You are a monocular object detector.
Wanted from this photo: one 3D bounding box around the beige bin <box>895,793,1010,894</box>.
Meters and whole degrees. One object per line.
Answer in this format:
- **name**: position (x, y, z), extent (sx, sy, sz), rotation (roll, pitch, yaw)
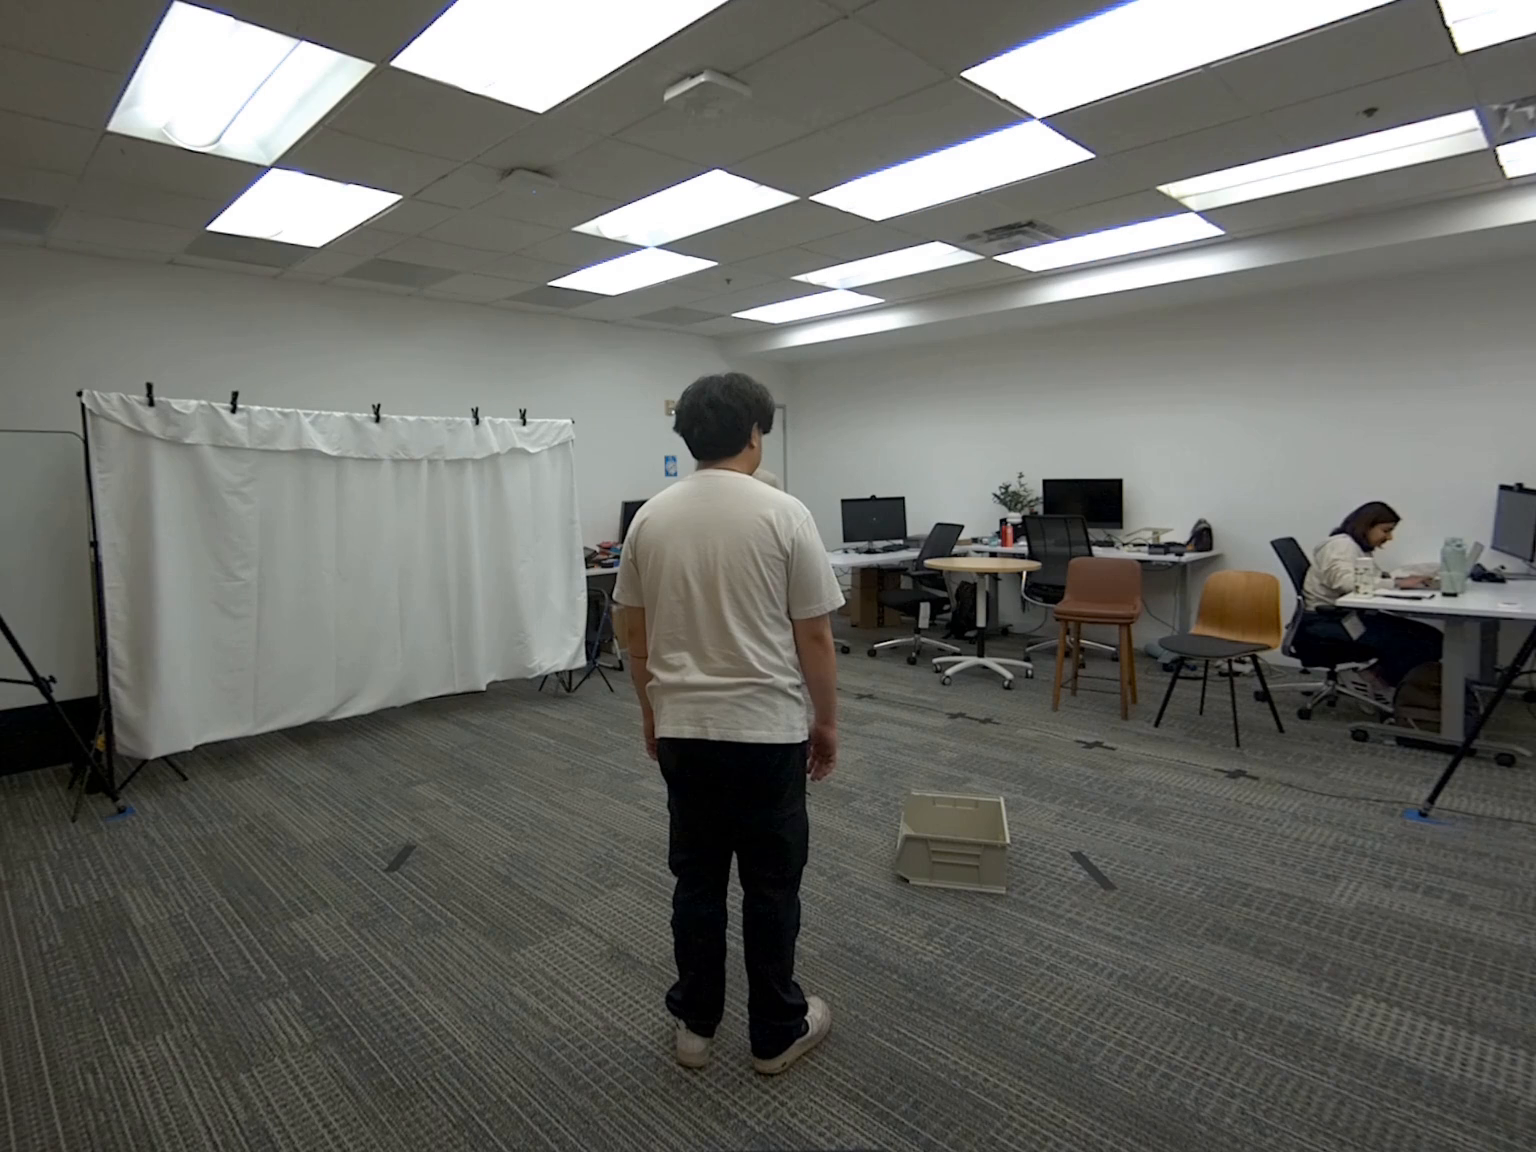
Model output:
- **beige bin**: position (0.665, 0.947, 3.074), extent (0.382, 0.188, 0.418), rotation (1, 6, 12)
